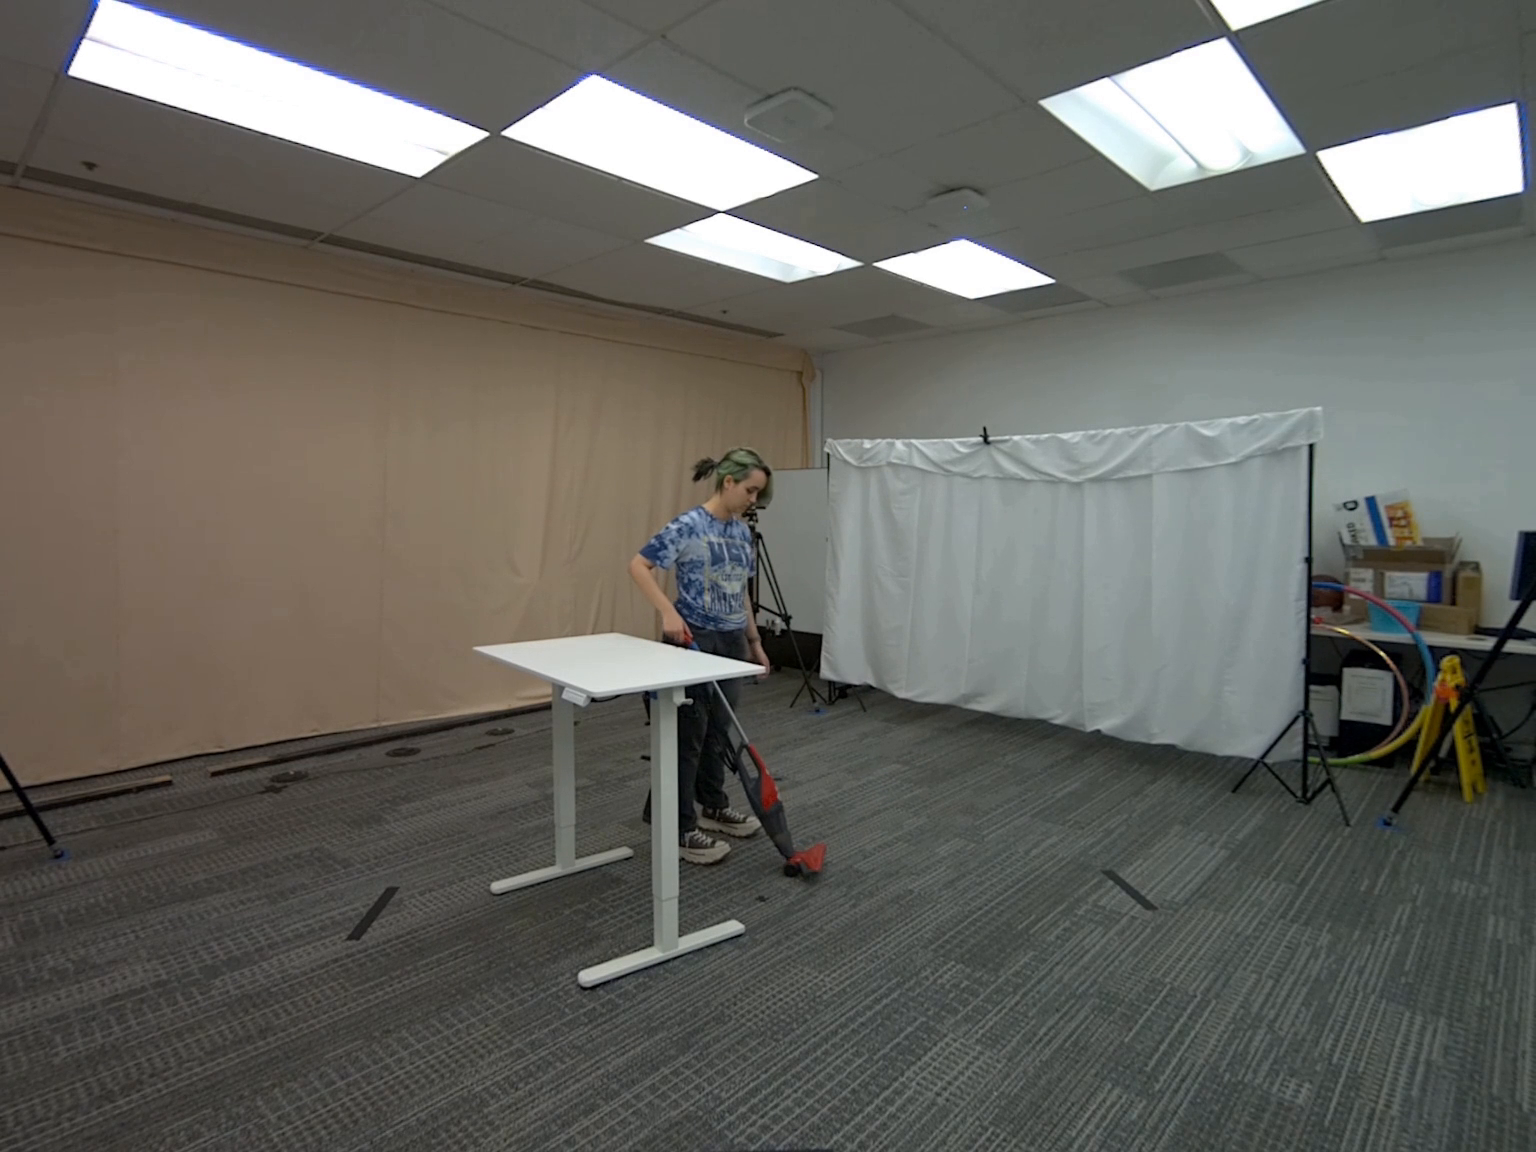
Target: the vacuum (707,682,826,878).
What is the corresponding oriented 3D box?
[{"bbox_3d":[-0.105,0.661,3.241,0.145,1.055,0.249,-31,-5,11],"label":"vacuum"}]
